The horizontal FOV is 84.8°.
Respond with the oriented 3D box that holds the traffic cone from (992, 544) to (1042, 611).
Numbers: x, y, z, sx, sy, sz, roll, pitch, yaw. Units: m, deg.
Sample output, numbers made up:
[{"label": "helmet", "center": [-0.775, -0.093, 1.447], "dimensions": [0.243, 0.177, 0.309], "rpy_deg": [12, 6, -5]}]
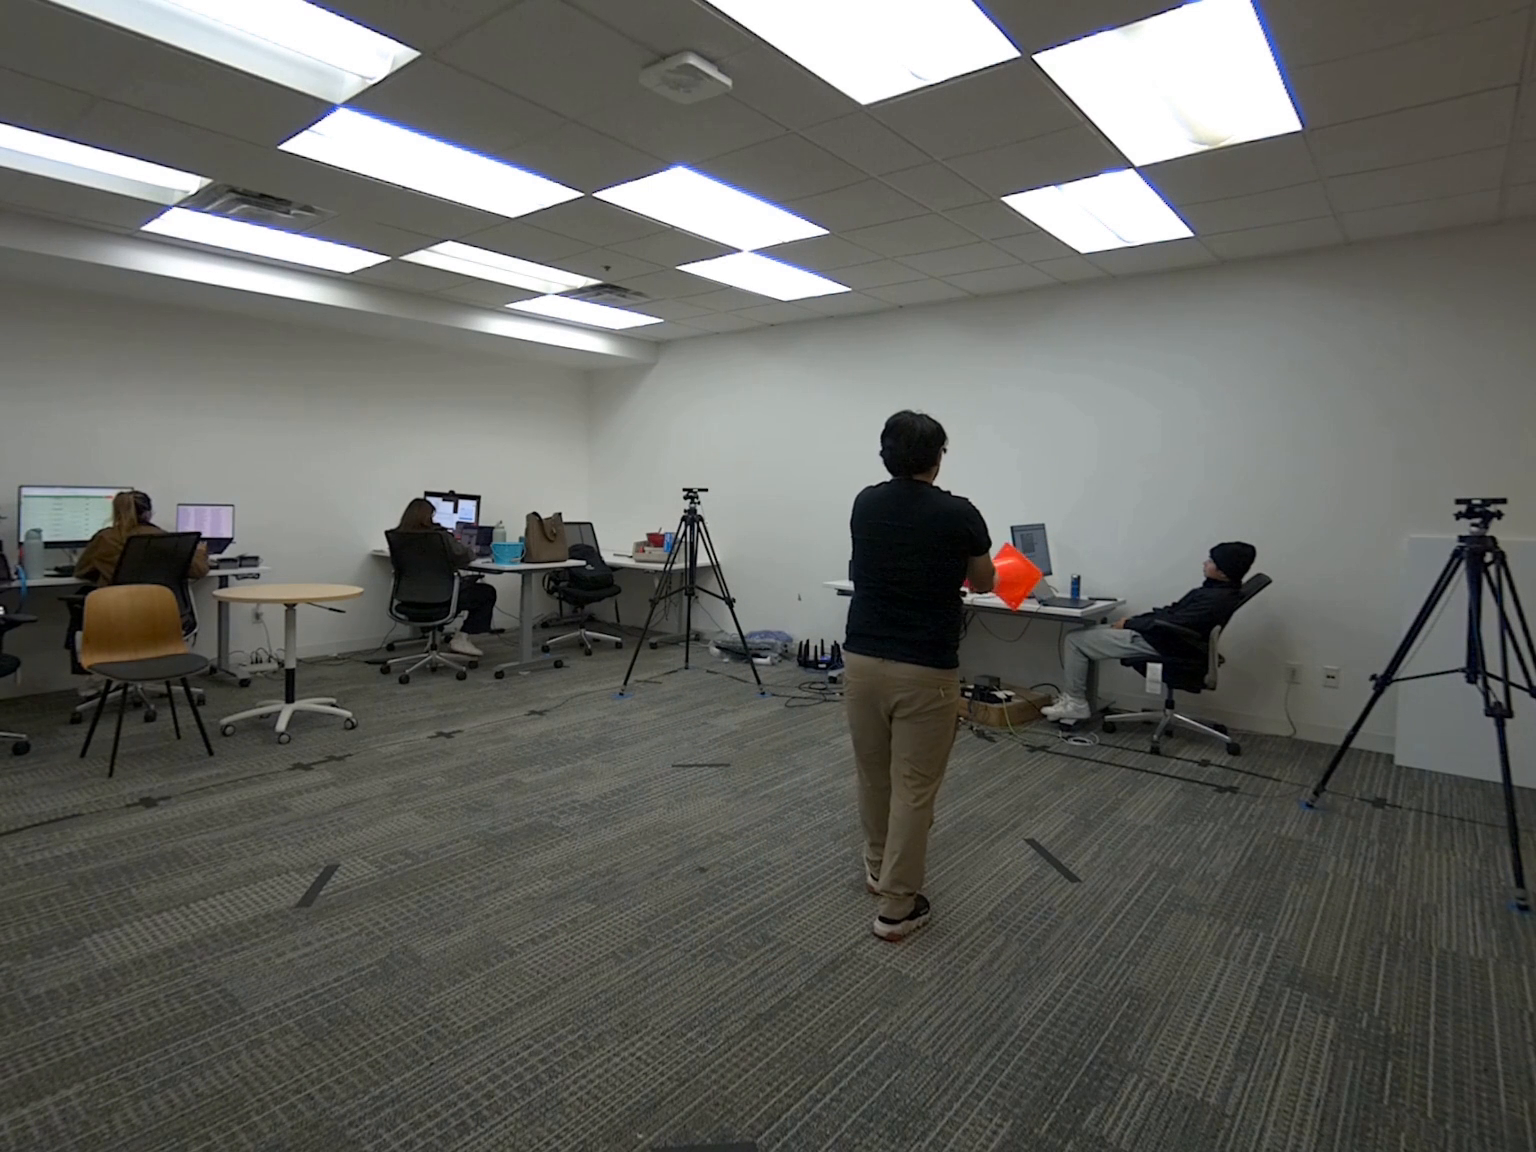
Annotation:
[{"label": "traffic cone", "center": [0.811, 0.013, 3.199], "dimensions": [0.373, 0.203, 0.211], "rpy_deg": [-8, 46, -43]}]
